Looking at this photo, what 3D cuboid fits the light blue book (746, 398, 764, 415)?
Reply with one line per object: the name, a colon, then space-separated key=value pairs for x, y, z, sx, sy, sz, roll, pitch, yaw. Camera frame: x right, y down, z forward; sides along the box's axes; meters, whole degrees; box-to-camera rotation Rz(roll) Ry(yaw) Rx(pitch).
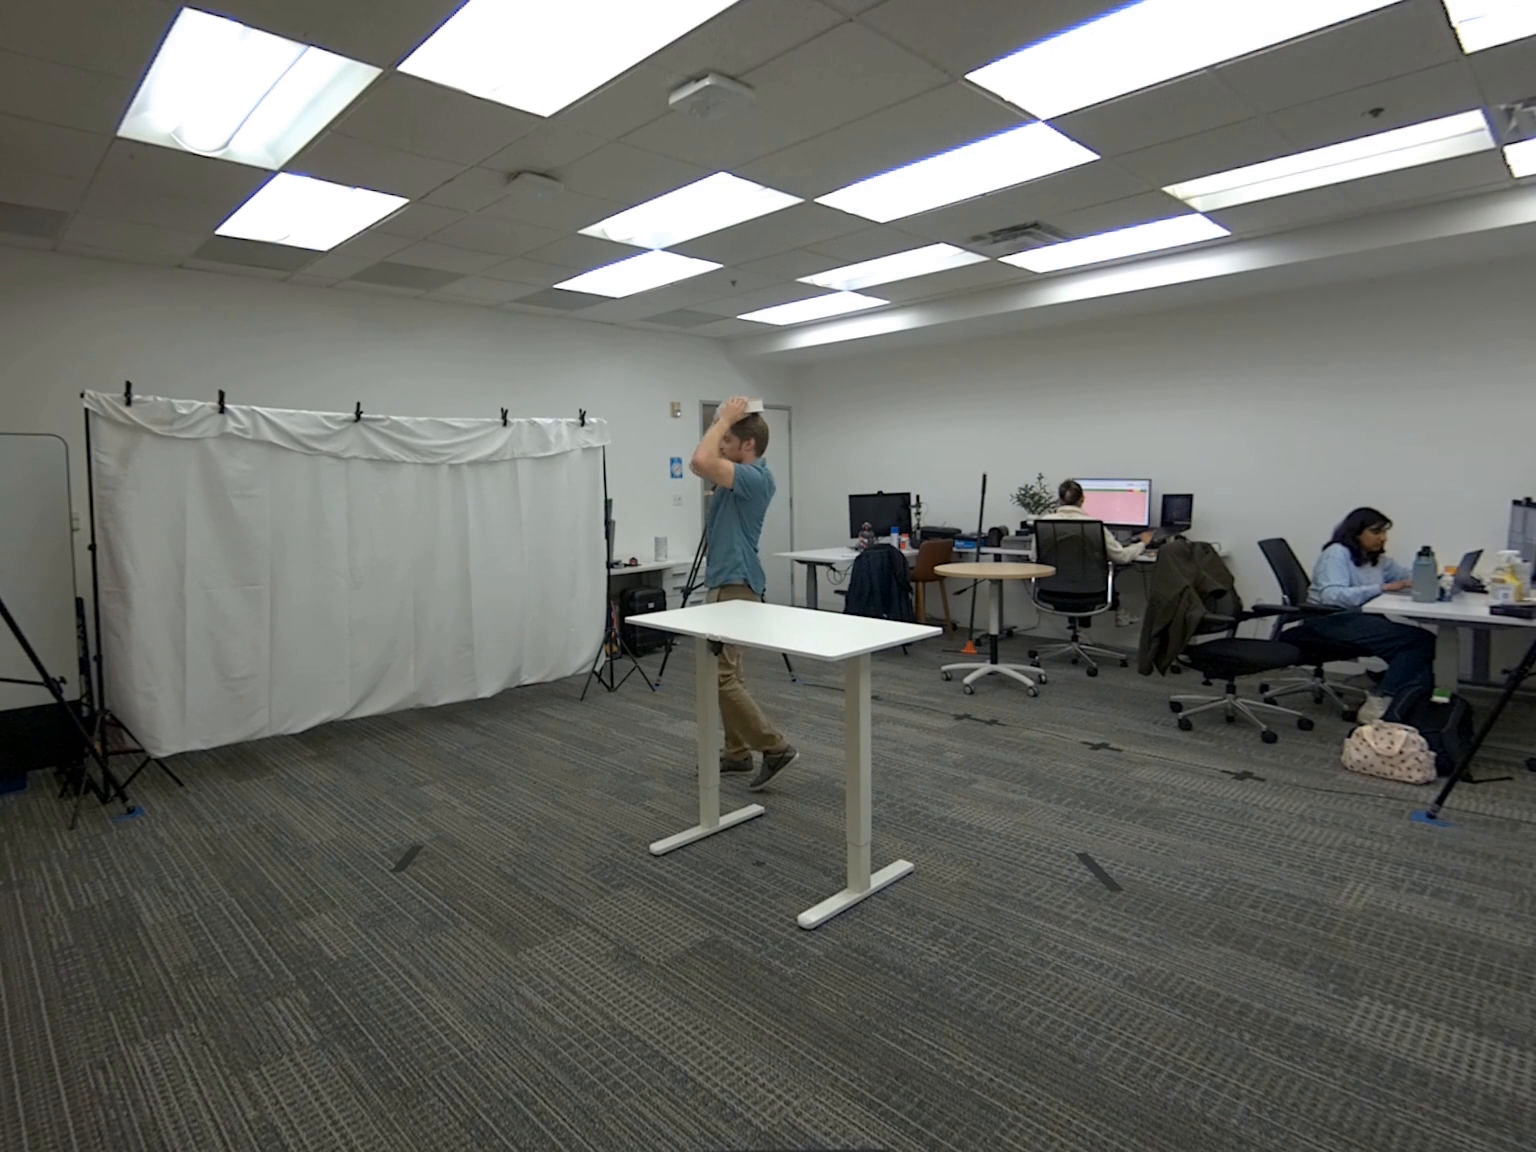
light blue book: x=-0.124 y=-0.764 z=3.905 sx=0.191 sy=0.059 sz=0.263 roll=-8 pitch=6 yaw=-3
